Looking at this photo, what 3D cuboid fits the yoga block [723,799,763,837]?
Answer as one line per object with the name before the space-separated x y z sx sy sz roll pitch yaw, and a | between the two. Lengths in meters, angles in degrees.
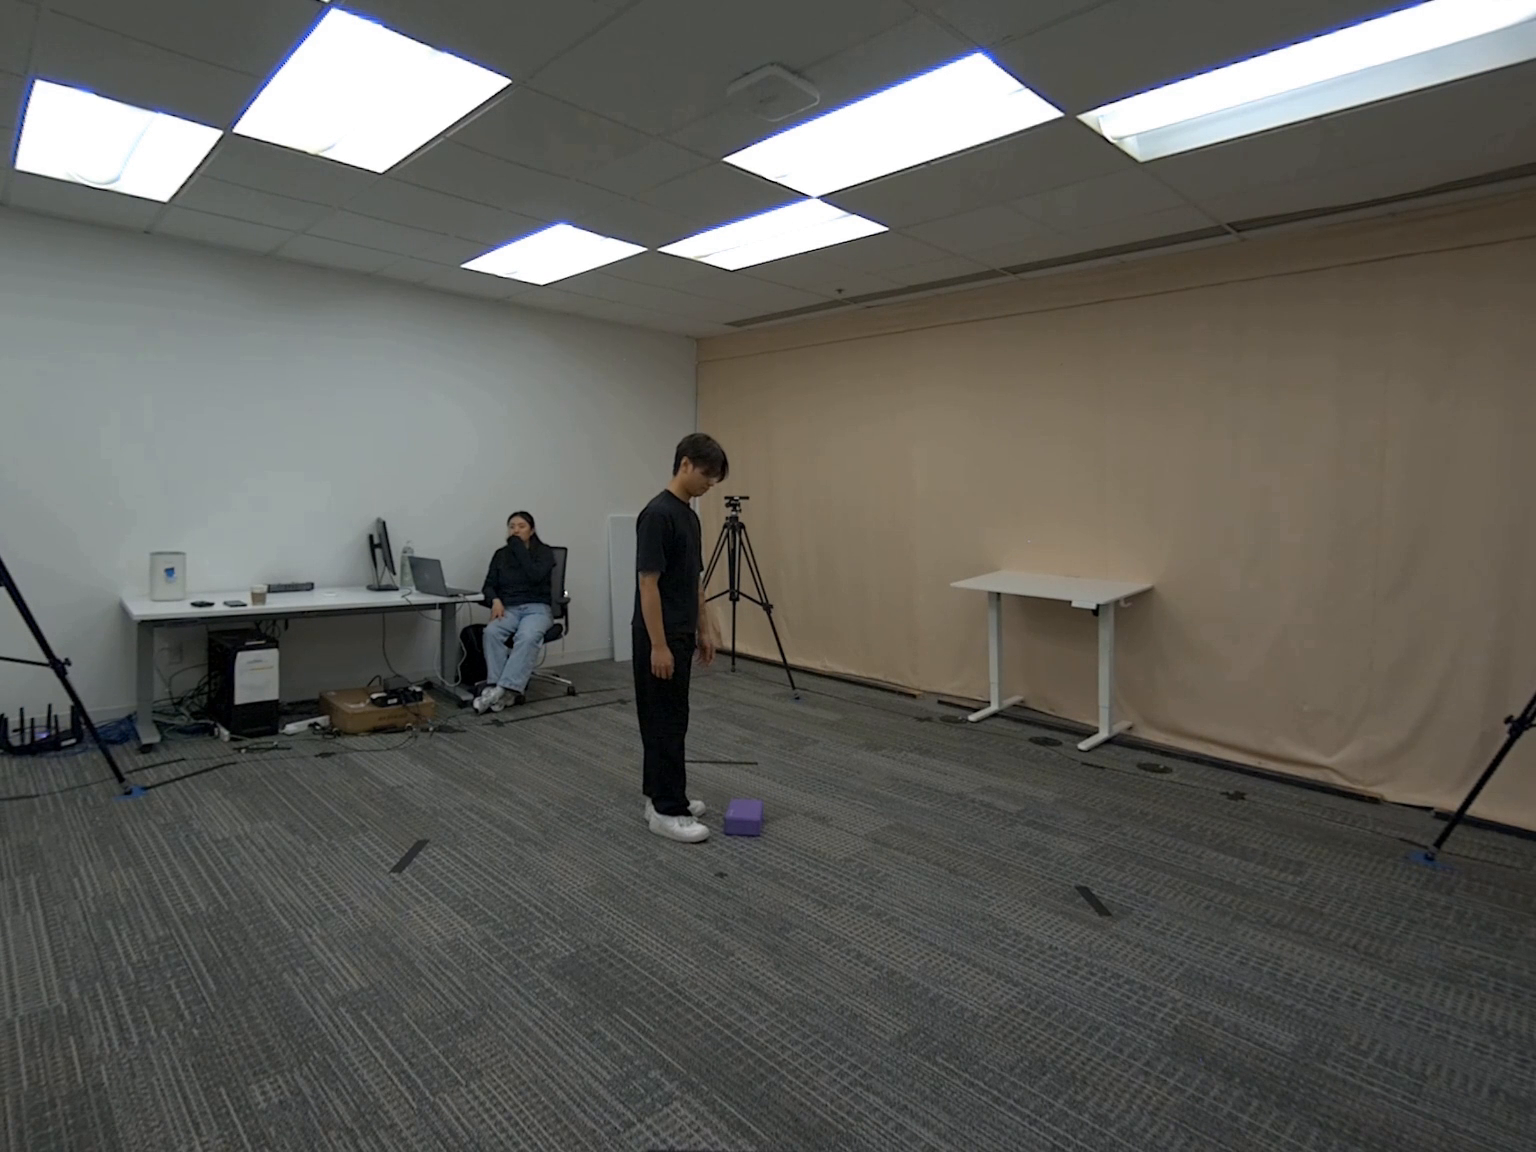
yoga block | -0.112 1.021 3.581 0.149 0.076 0.229 2 7 4
